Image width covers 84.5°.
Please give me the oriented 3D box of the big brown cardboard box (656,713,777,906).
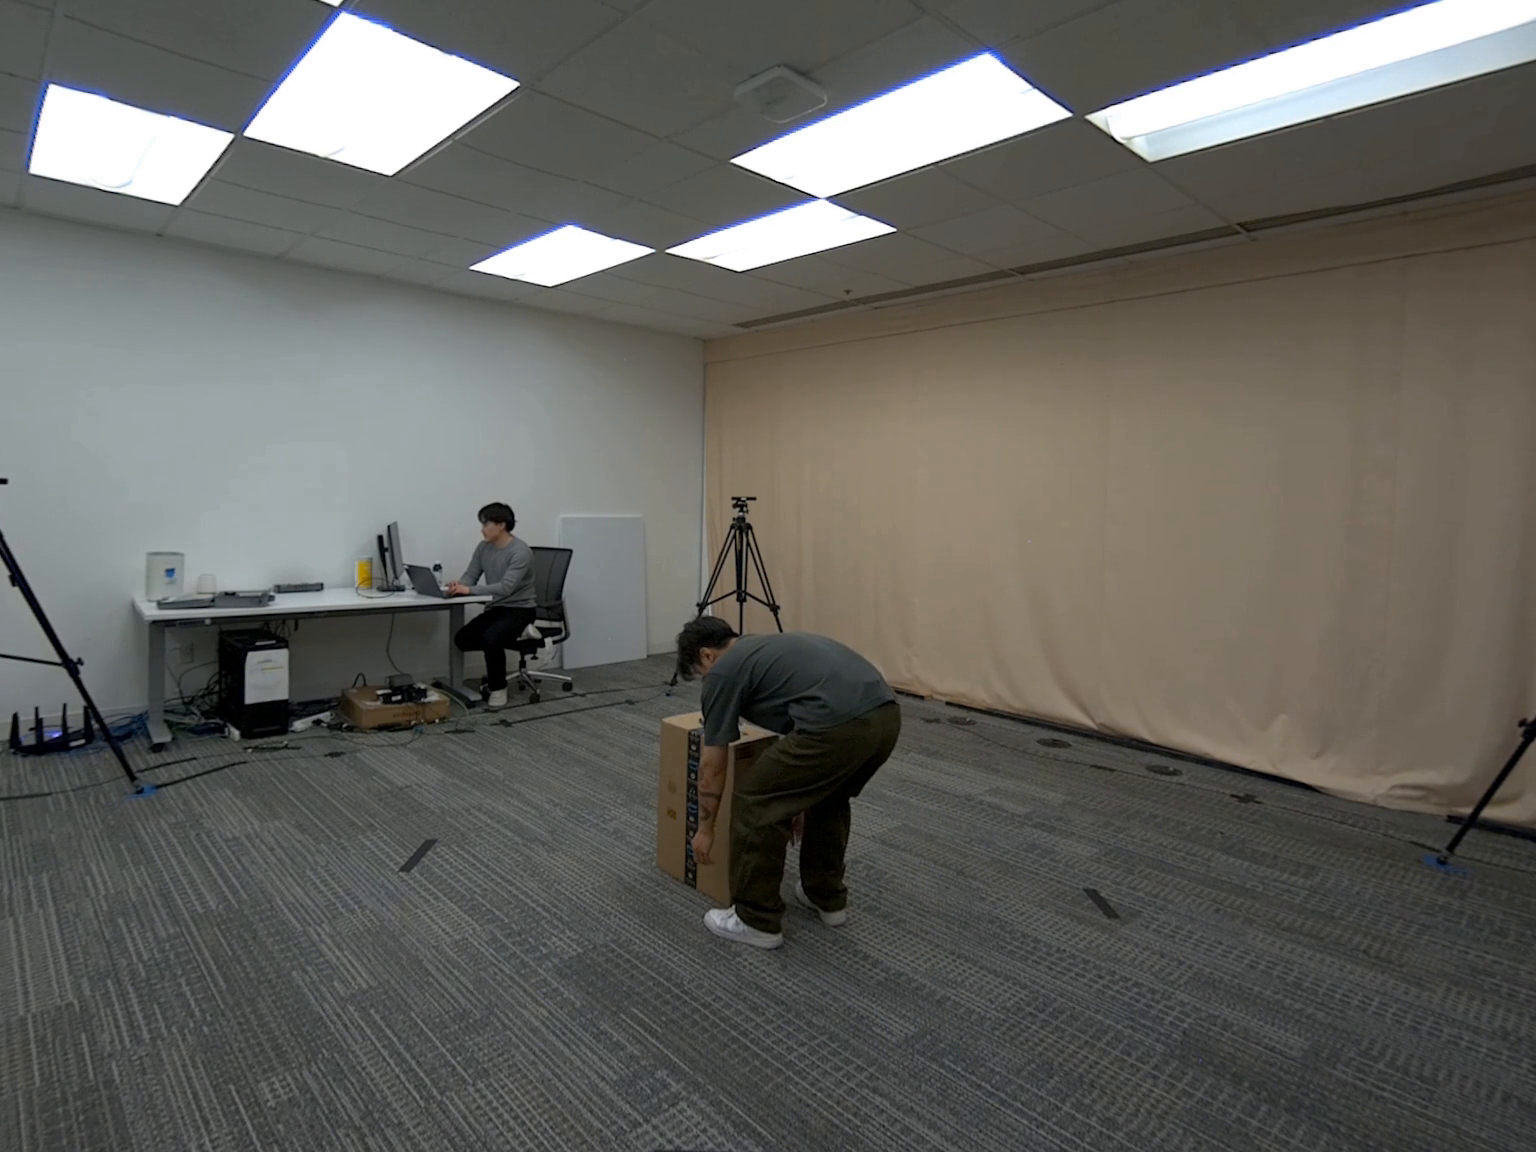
[{"bbox_3d":[-0.194,0.823,3.060,0.228,0.587,0.428,-1,5,-43],"label":"big brown cardboard box"}]
